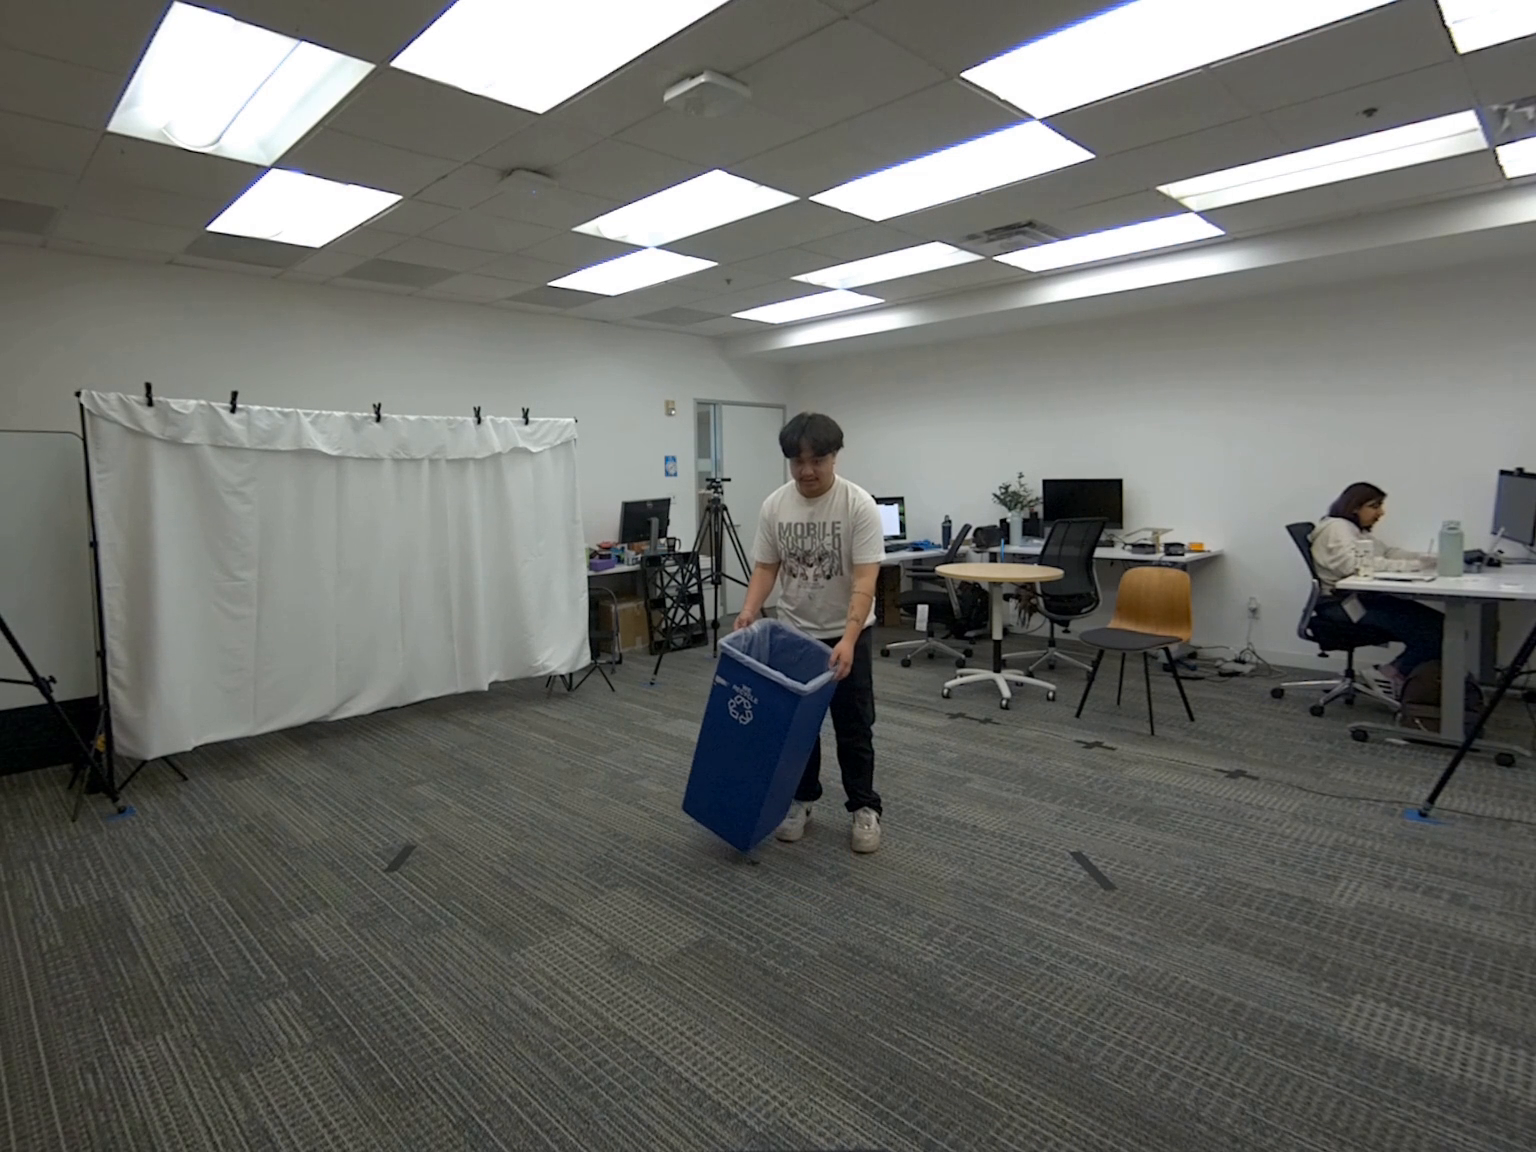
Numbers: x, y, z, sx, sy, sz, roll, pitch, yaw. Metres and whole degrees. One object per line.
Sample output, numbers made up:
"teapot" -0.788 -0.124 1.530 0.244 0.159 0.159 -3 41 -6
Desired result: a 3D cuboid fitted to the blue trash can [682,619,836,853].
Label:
"blue trash can" -0.025 0.587 3.103 0.386 0.705 0.371 26 23 26
